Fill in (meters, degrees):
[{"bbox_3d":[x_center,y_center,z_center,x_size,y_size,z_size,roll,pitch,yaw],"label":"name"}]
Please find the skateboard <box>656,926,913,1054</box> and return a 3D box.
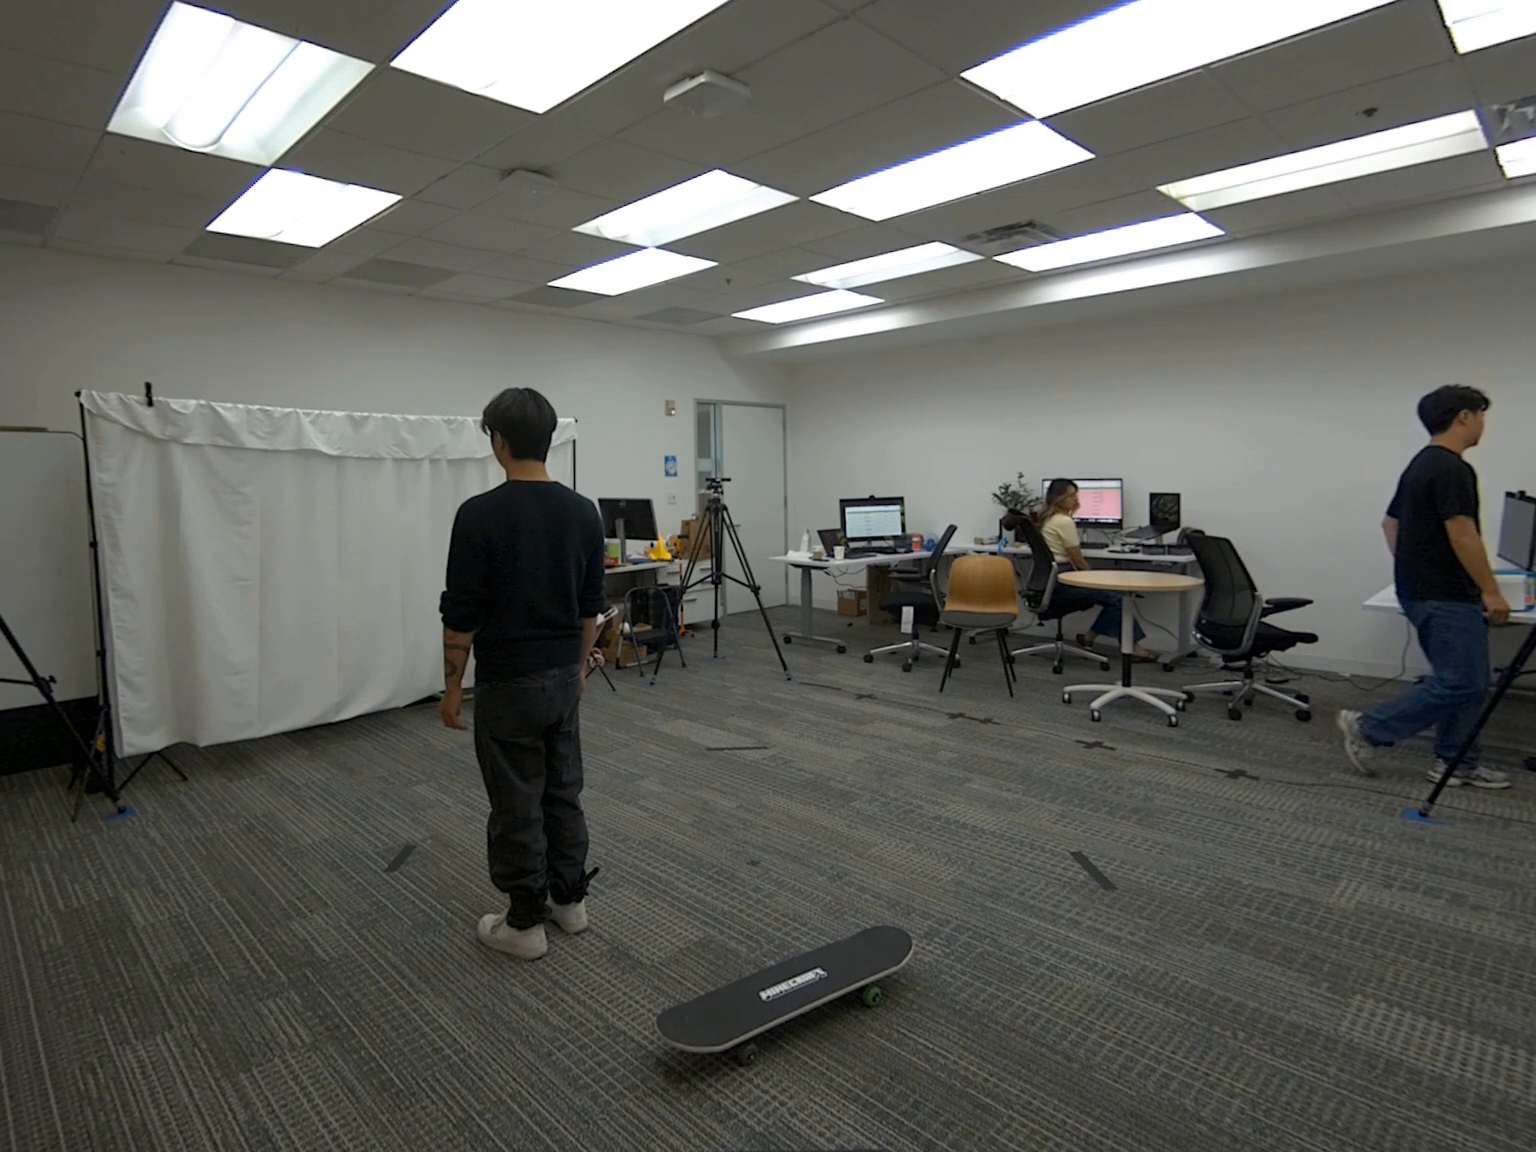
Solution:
[{"bbox_3d":[0.070,1.084,2.219,0.766,0.110,0.199,-6,7,-33],"label":"skateboard"}]
